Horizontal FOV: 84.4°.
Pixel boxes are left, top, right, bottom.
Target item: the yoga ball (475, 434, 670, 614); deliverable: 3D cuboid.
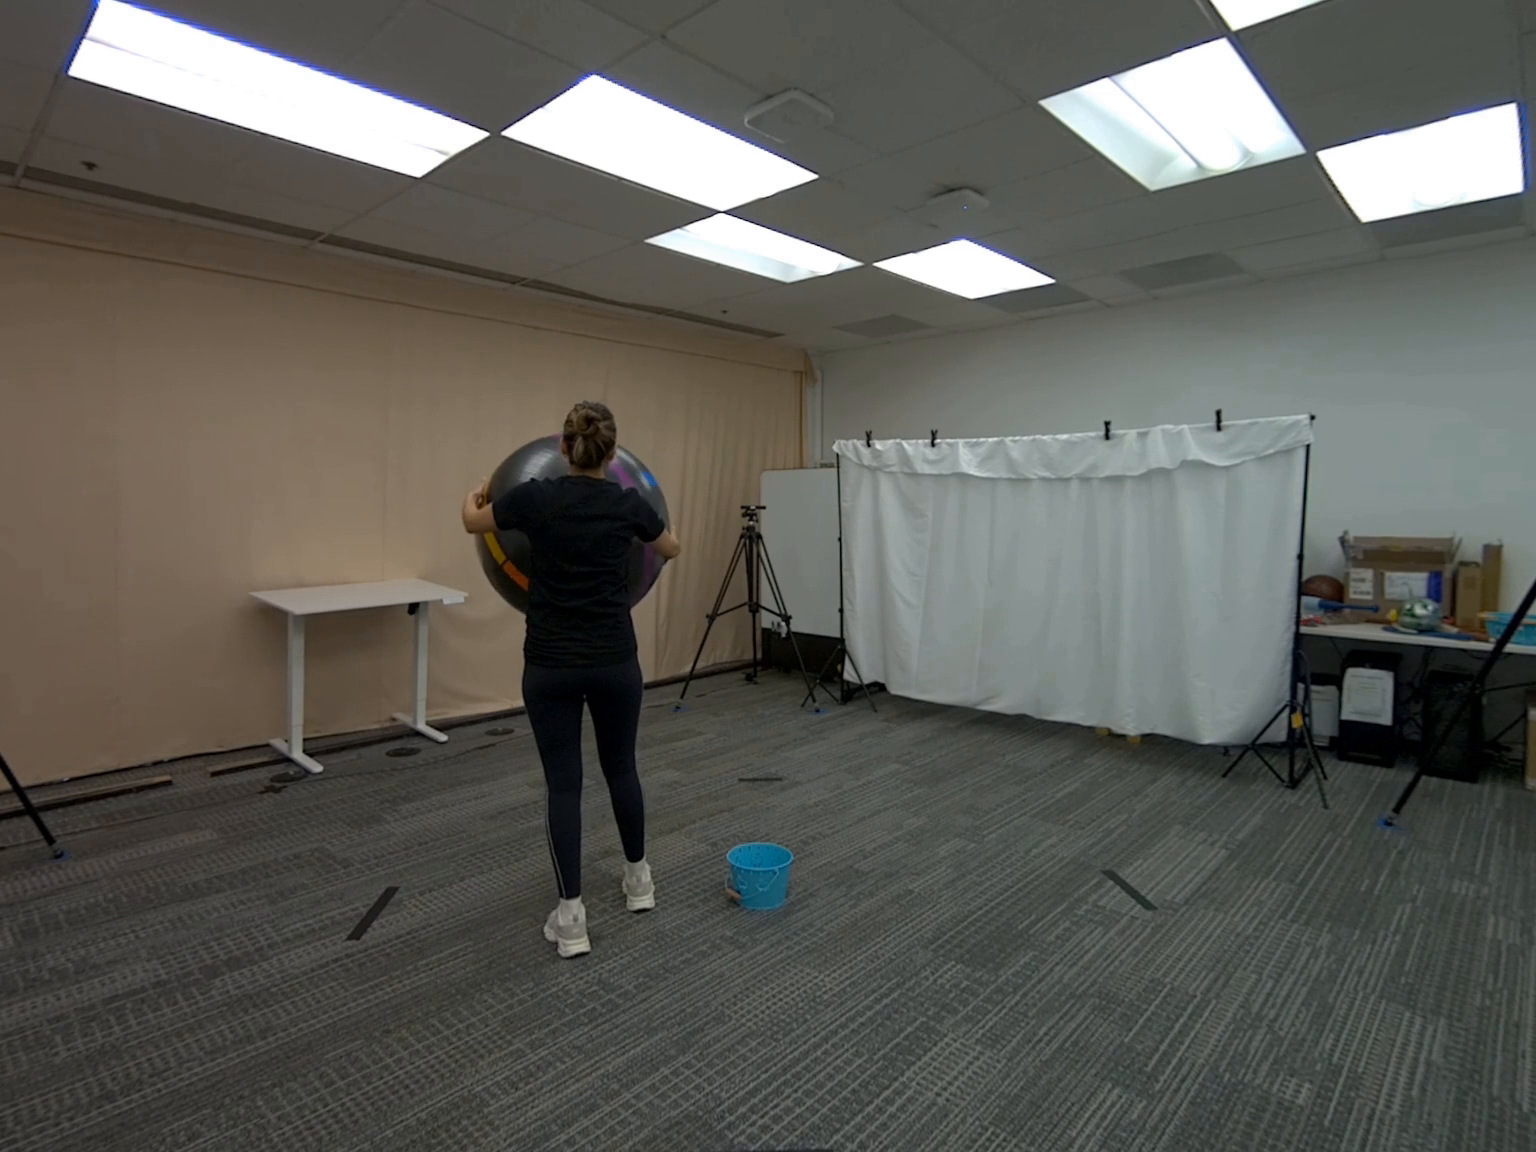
[{"bbox_3d":[-0.767,-0.180,3.297,0.757,0.756,0.761,0,4,-2],"label":"yoga ball"}]
